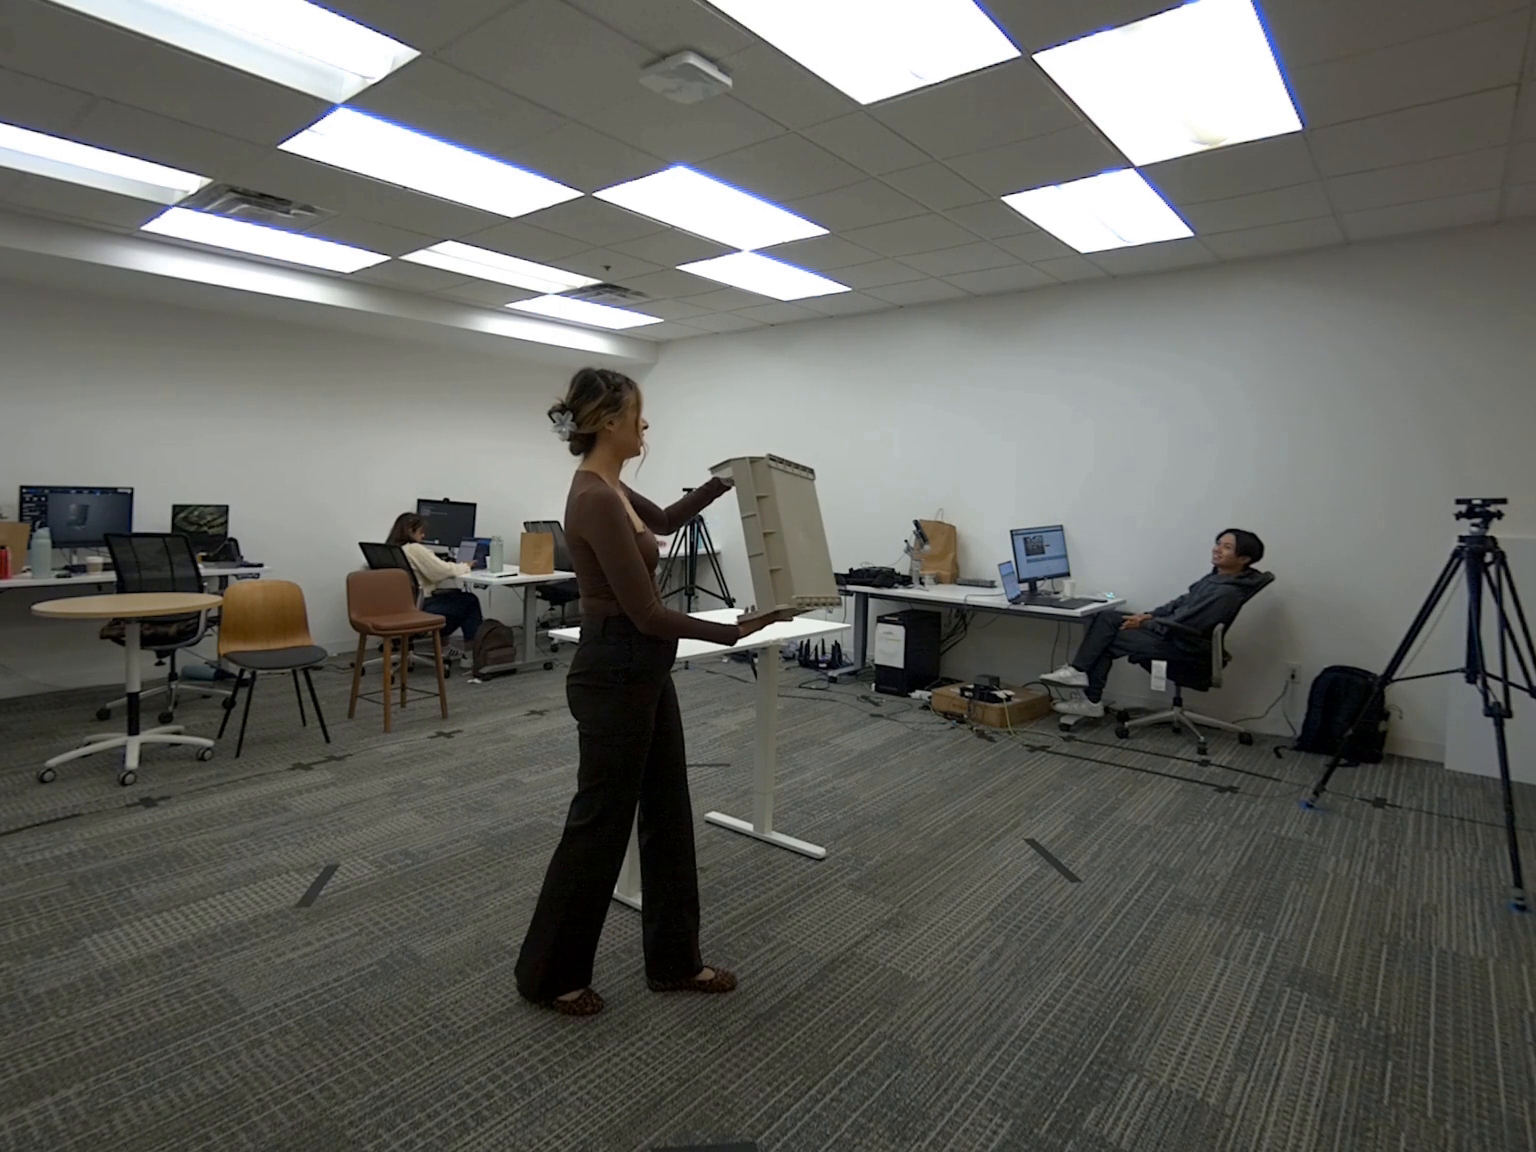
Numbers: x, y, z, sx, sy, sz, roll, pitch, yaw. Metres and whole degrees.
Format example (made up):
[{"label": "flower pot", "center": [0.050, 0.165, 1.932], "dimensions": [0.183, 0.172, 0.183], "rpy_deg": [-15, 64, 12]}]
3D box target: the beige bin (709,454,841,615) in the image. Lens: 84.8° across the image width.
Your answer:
[{"label": "beige bin", "center": [0.005, -0.100, 2.326], "dimensions": [0.192, 0.427, 0.366], "rpy_deg": [-16, -10, 27]}]
